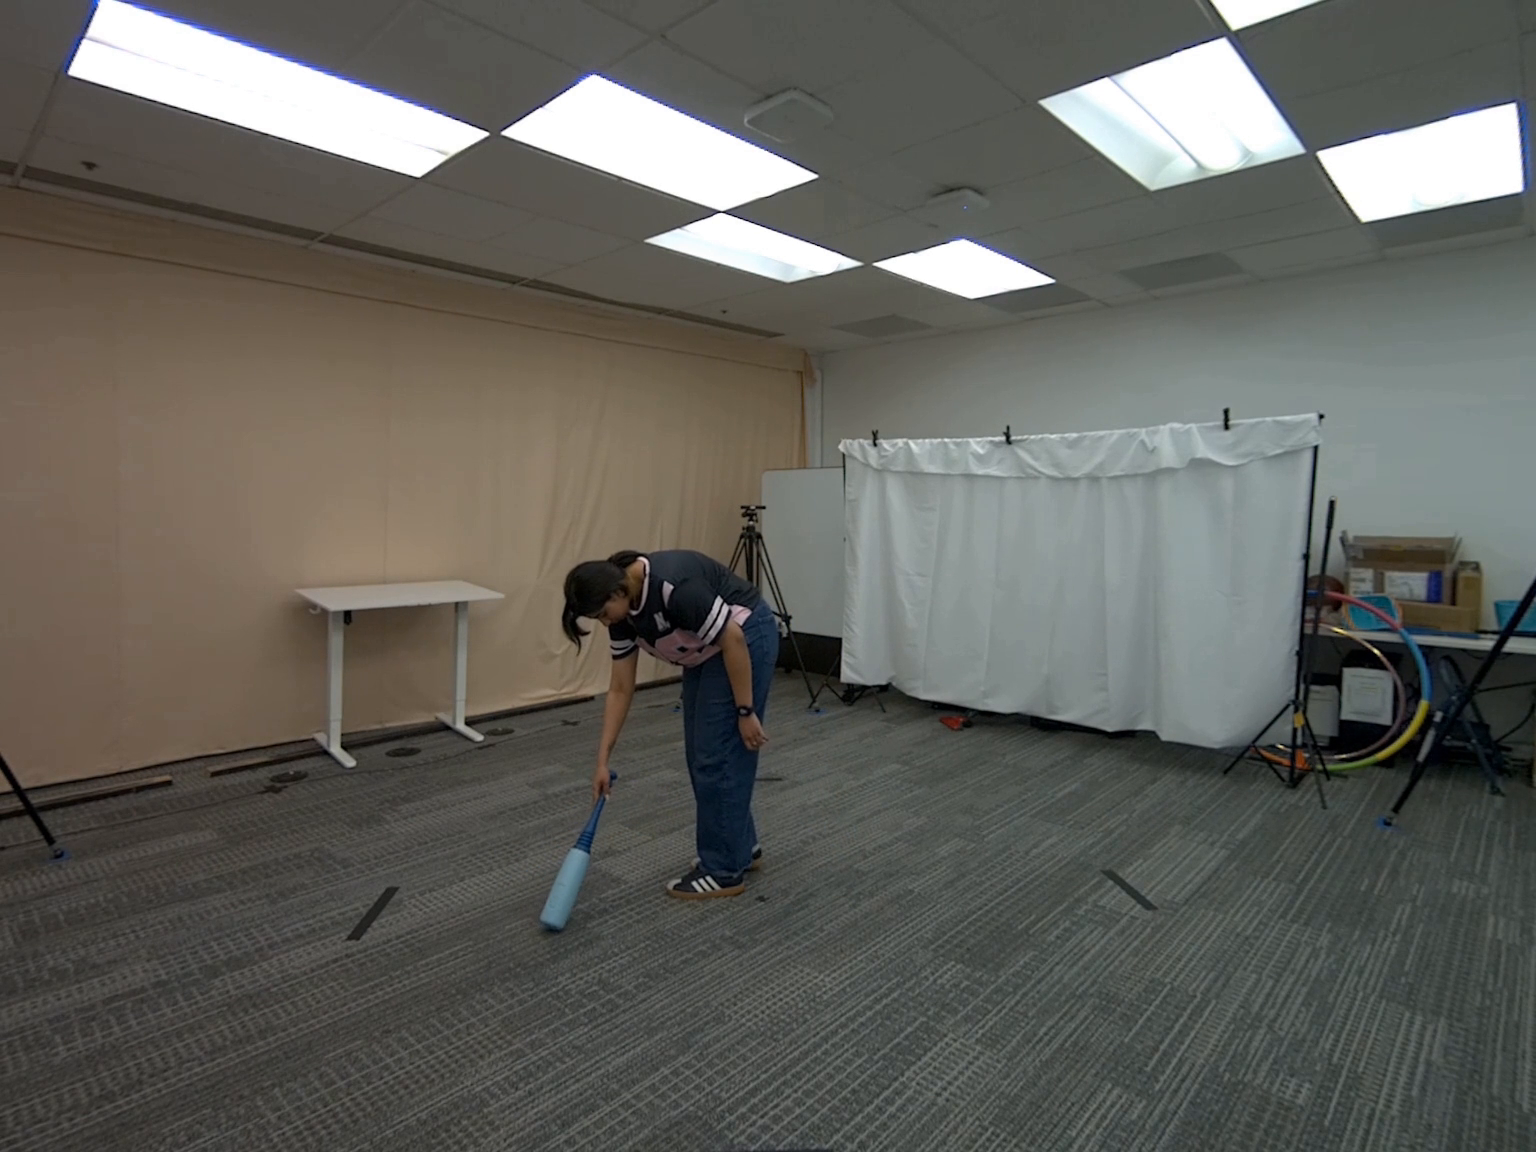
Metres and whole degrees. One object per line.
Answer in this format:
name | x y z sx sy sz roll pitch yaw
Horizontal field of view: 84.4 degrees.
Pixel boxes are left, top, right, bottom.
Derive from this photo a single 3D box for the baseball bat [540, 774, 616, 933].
baseball bat | -0.628 0.933 2.889 0.090 0.545 0.087 17 -31 9
